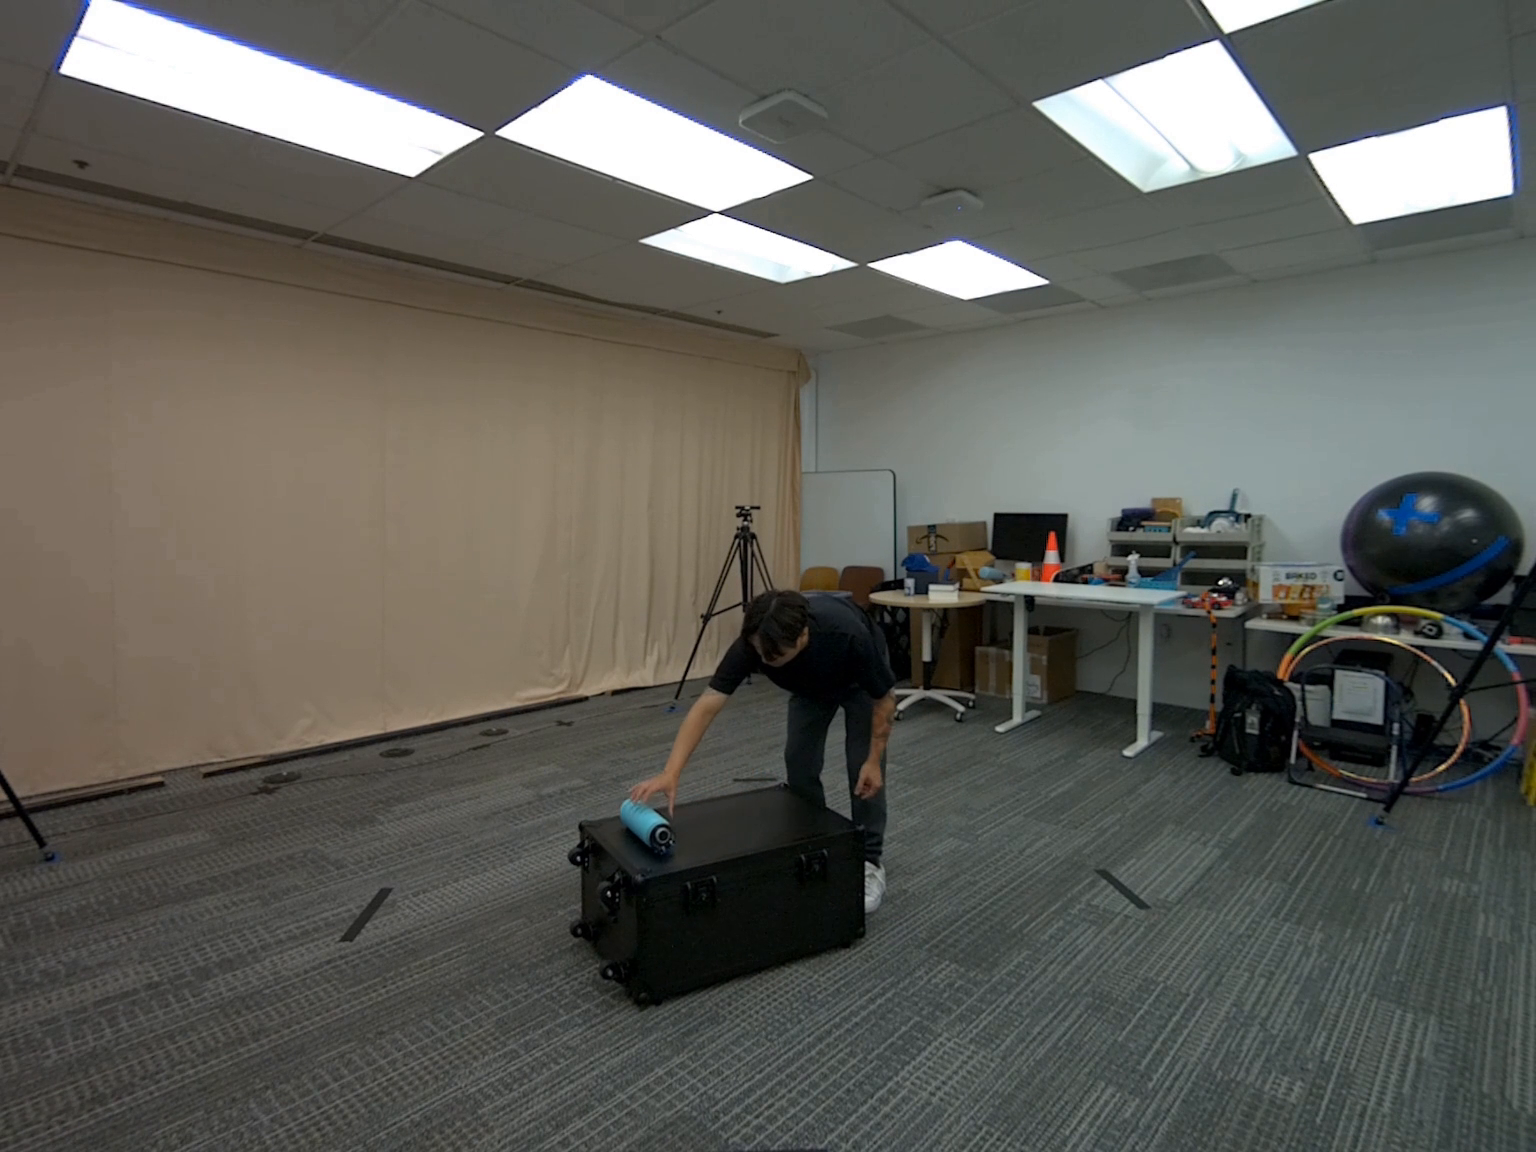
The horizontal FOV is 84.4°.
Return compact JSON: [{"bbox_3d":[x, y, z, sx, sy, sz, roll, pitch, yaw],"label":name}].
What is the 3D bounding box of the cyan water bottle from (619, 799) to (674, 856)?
[{"bbox_3d":[-0.357,0.754,2.566,0.090,0.092,0.291,-2,4,-29],"label":"cyan water bottle"}]
